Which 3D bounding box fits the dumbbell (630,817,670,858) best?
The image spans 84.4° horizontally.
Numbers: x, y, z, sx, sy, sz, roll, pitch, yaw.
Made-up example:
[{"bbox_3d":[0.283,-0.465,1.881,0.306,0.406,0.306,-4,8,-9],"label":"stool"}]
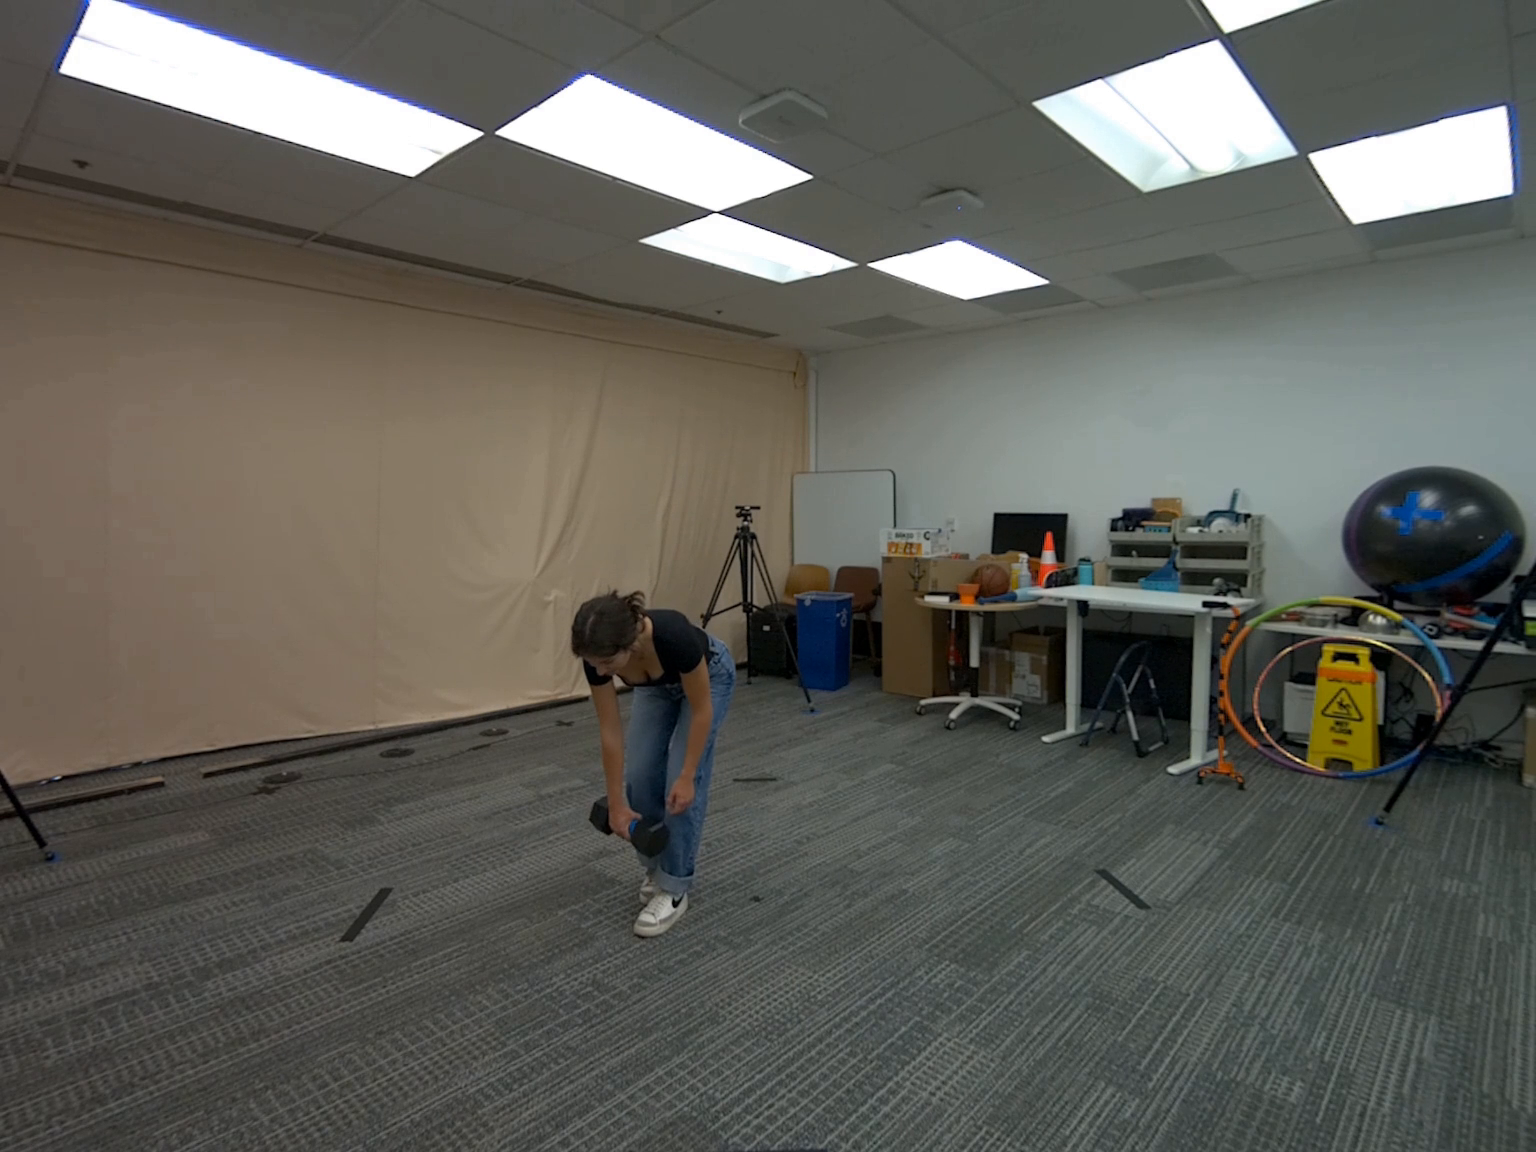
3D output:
[{"bbox_3d":[-0.460,0.830,2.813,0.304,0.119,0.108,9,49,39],"label":"dumbbell"}]
